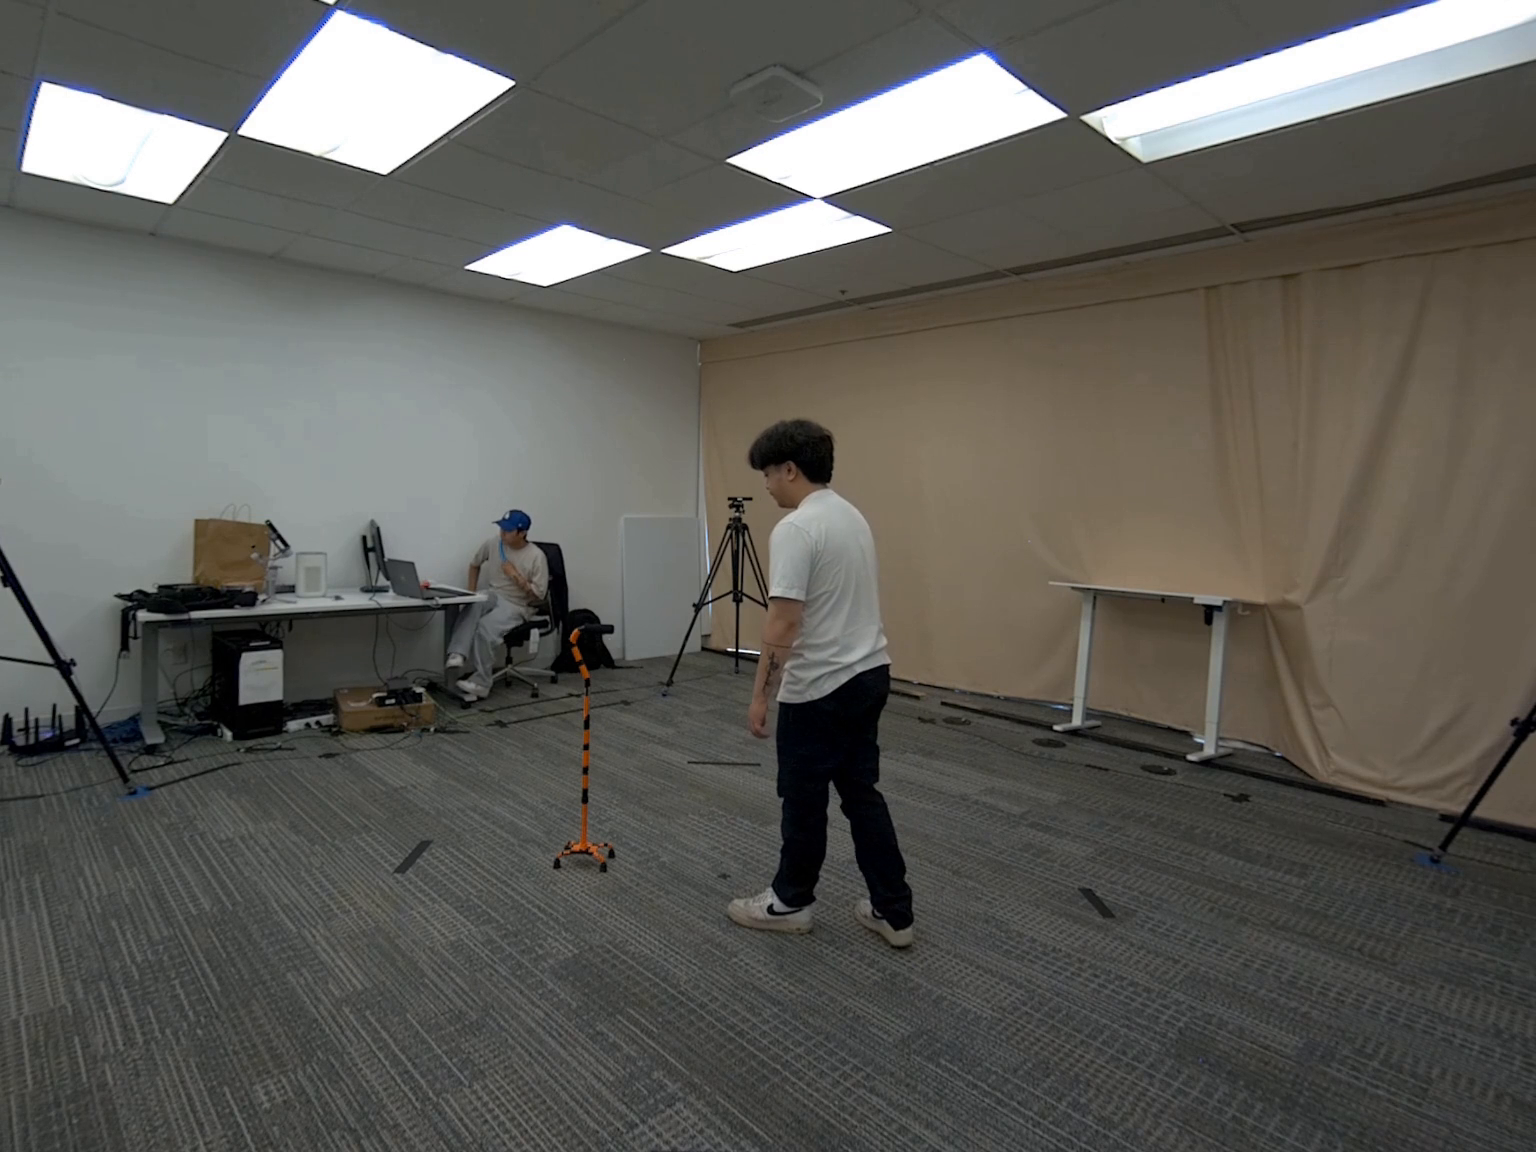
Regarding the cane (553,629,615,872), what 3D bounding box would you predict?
[{"bbox_3d":[-0.688,0.639,3.169,0.207,0.906,0.151,2,3,4],"label":"cane"}]
